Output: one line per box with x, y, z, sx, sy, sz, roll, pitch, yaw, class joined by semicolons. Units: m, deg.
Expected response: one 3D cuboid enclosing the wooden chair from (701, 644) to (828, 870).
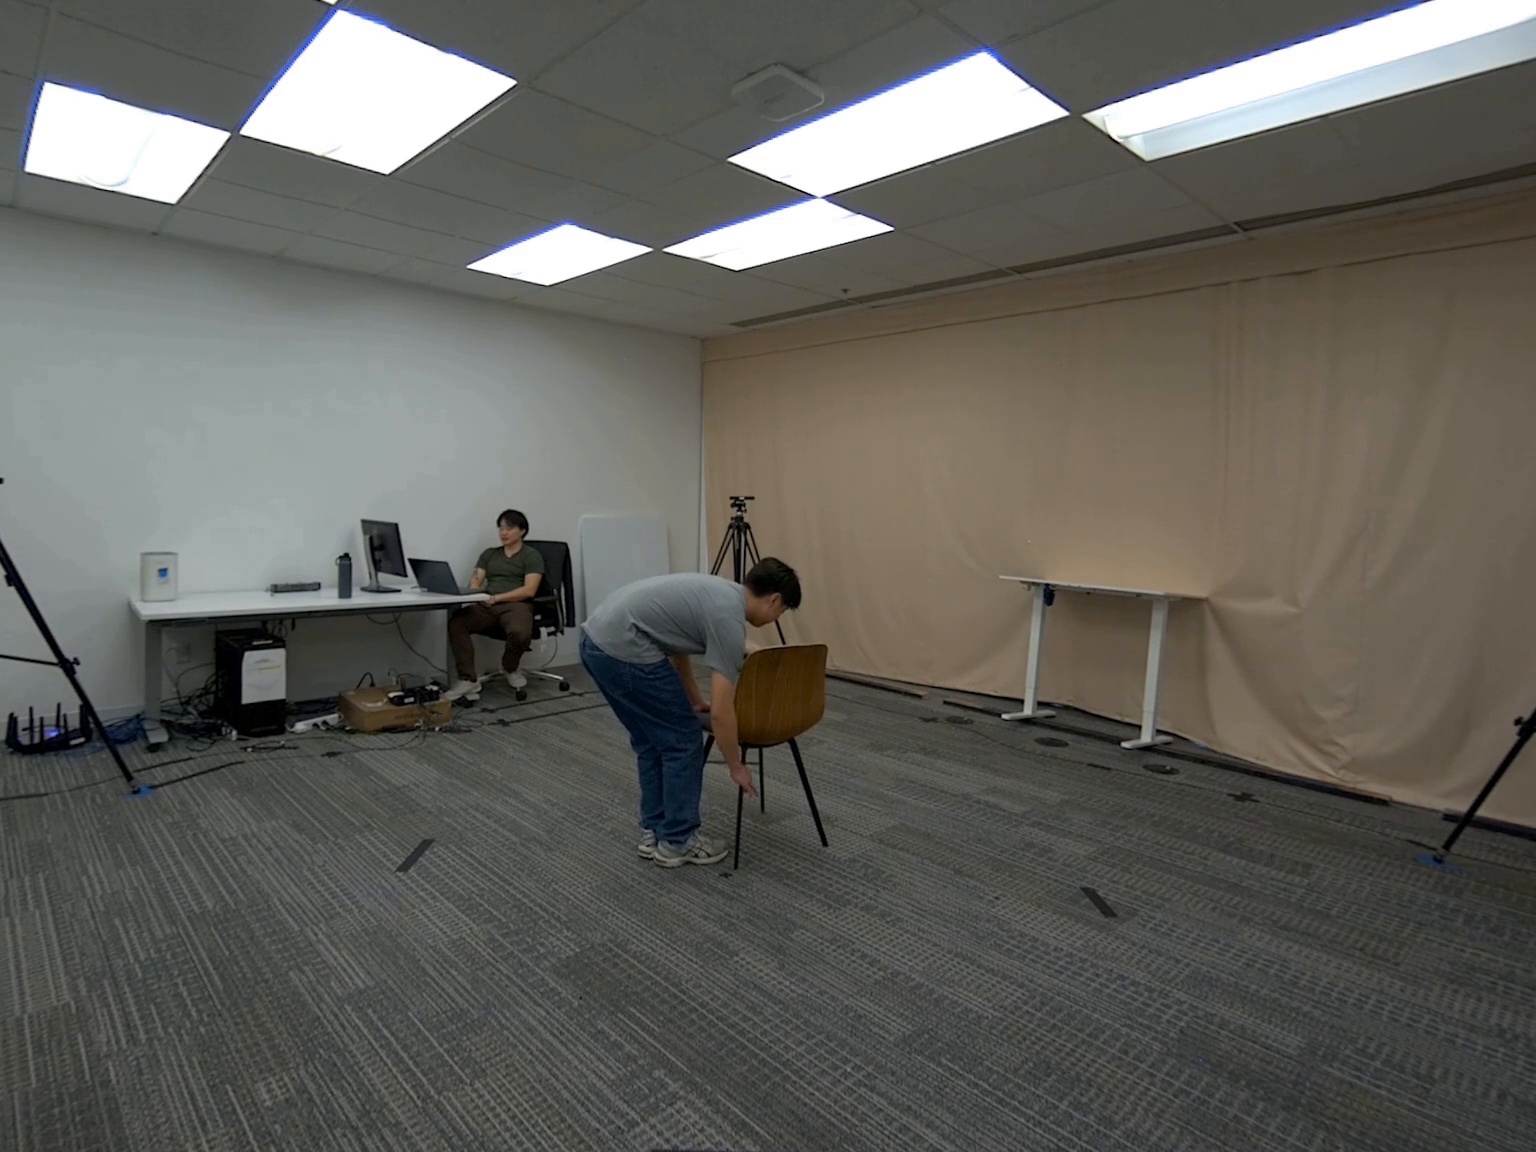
-0.064;0.644;3.431;0.468;0.873;0.537;-1;8;-35;wooden chair
